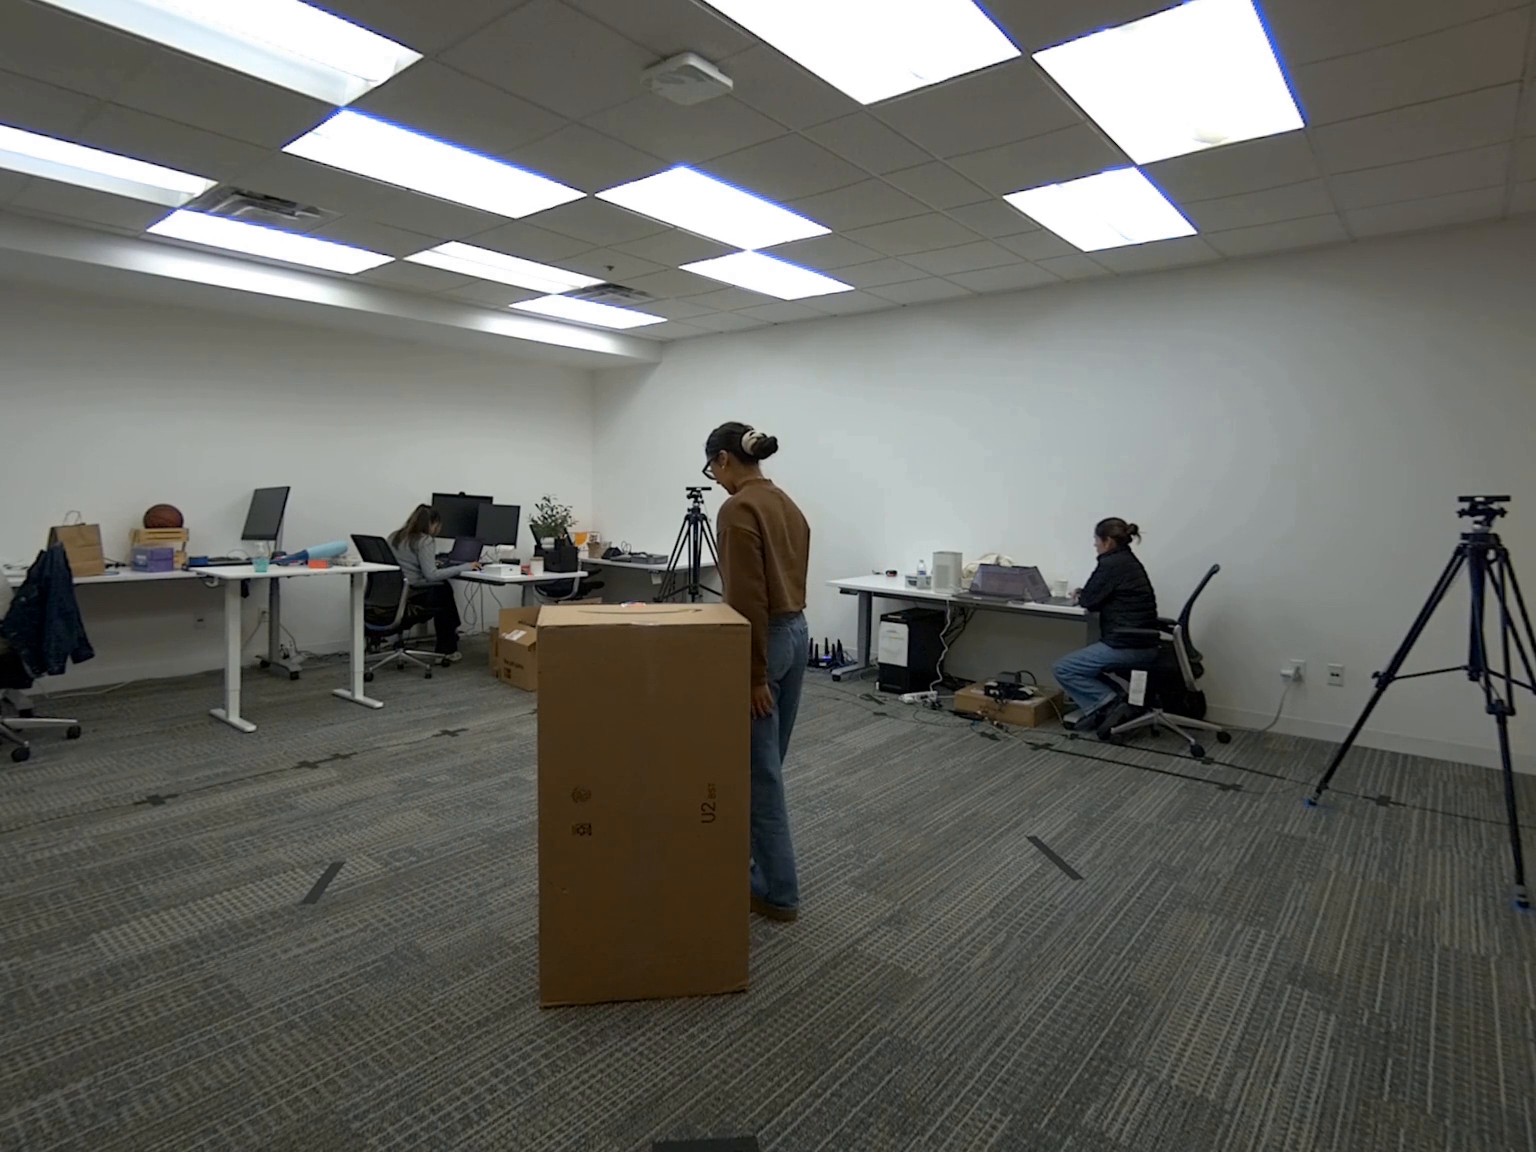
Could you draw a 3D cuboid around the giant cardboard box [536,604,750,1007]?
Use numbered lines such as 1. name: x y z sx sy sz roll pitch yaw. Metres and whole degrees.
1. giant cardboard box: -0.388 0.614 2.475 0.571 1.023 0.432 0 3 -10
